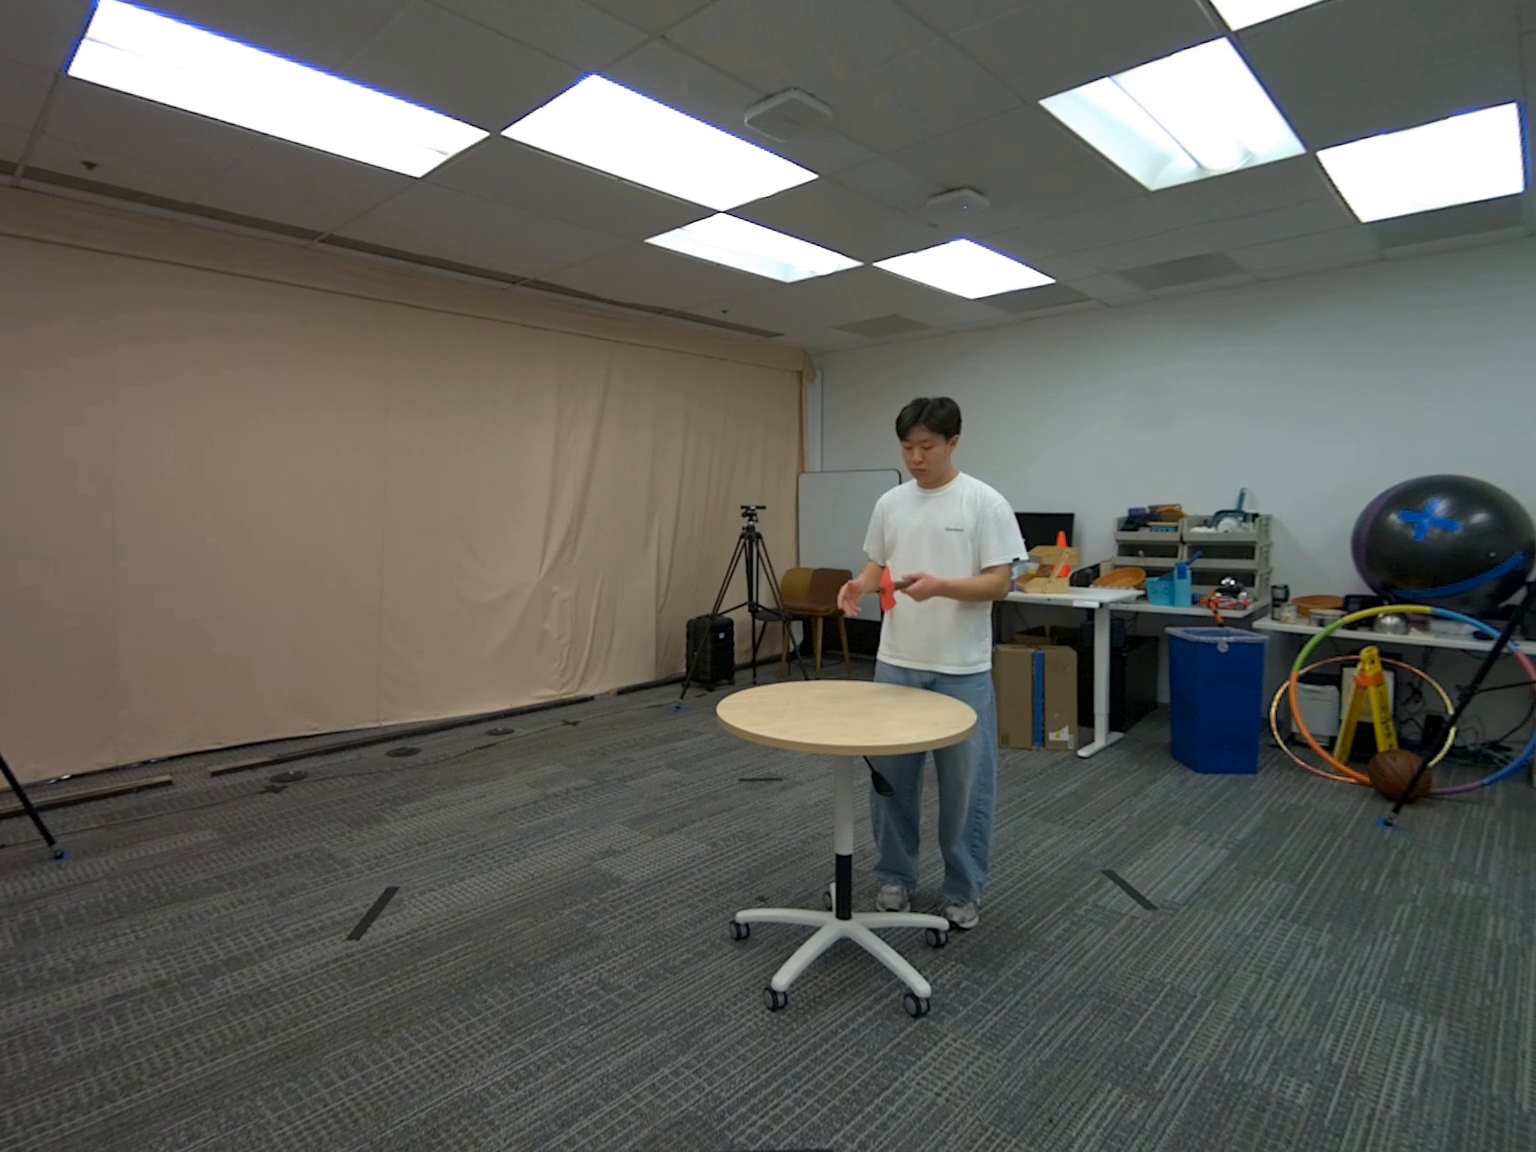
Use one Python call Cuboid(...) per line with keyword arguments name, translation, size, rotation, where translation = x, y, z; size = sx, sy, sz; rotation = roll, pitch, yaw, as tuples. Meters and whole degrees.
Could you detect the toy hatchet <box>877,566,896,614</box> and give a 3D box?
Cuboid(name="toy hatchet", translation=(0.411, 0.063, 2.570), size=(0.030, 0.131, 0.260), rotation=(7, -9, 39))
